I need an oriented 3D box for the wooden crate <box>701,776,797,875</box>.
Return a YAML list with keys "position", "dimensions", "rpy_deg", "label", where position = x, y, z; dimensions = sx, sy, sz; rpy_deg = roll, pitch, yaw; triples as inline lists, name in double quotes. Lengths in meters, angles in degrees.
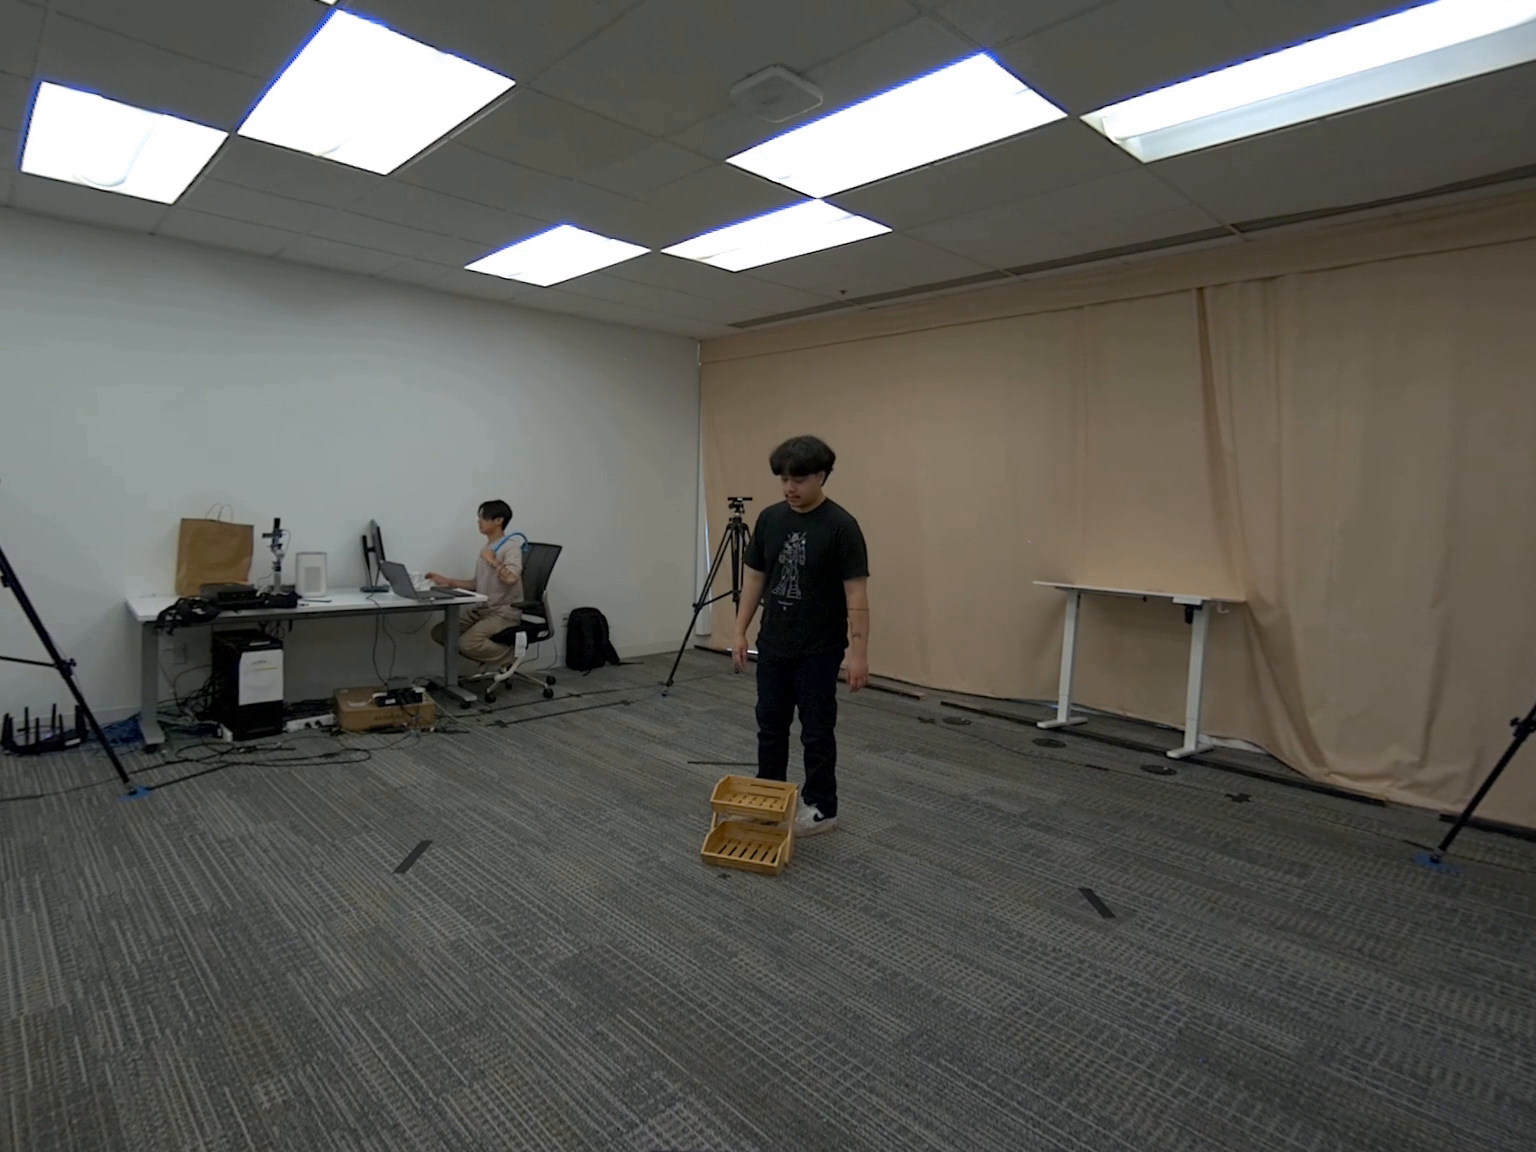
- position: [-0.073, 0.959, 3.275]
  dimensions: [0.329, 0.273, 0.298]
  rpy_deg: [3, 3, 17]
  label: "wooden crate"
